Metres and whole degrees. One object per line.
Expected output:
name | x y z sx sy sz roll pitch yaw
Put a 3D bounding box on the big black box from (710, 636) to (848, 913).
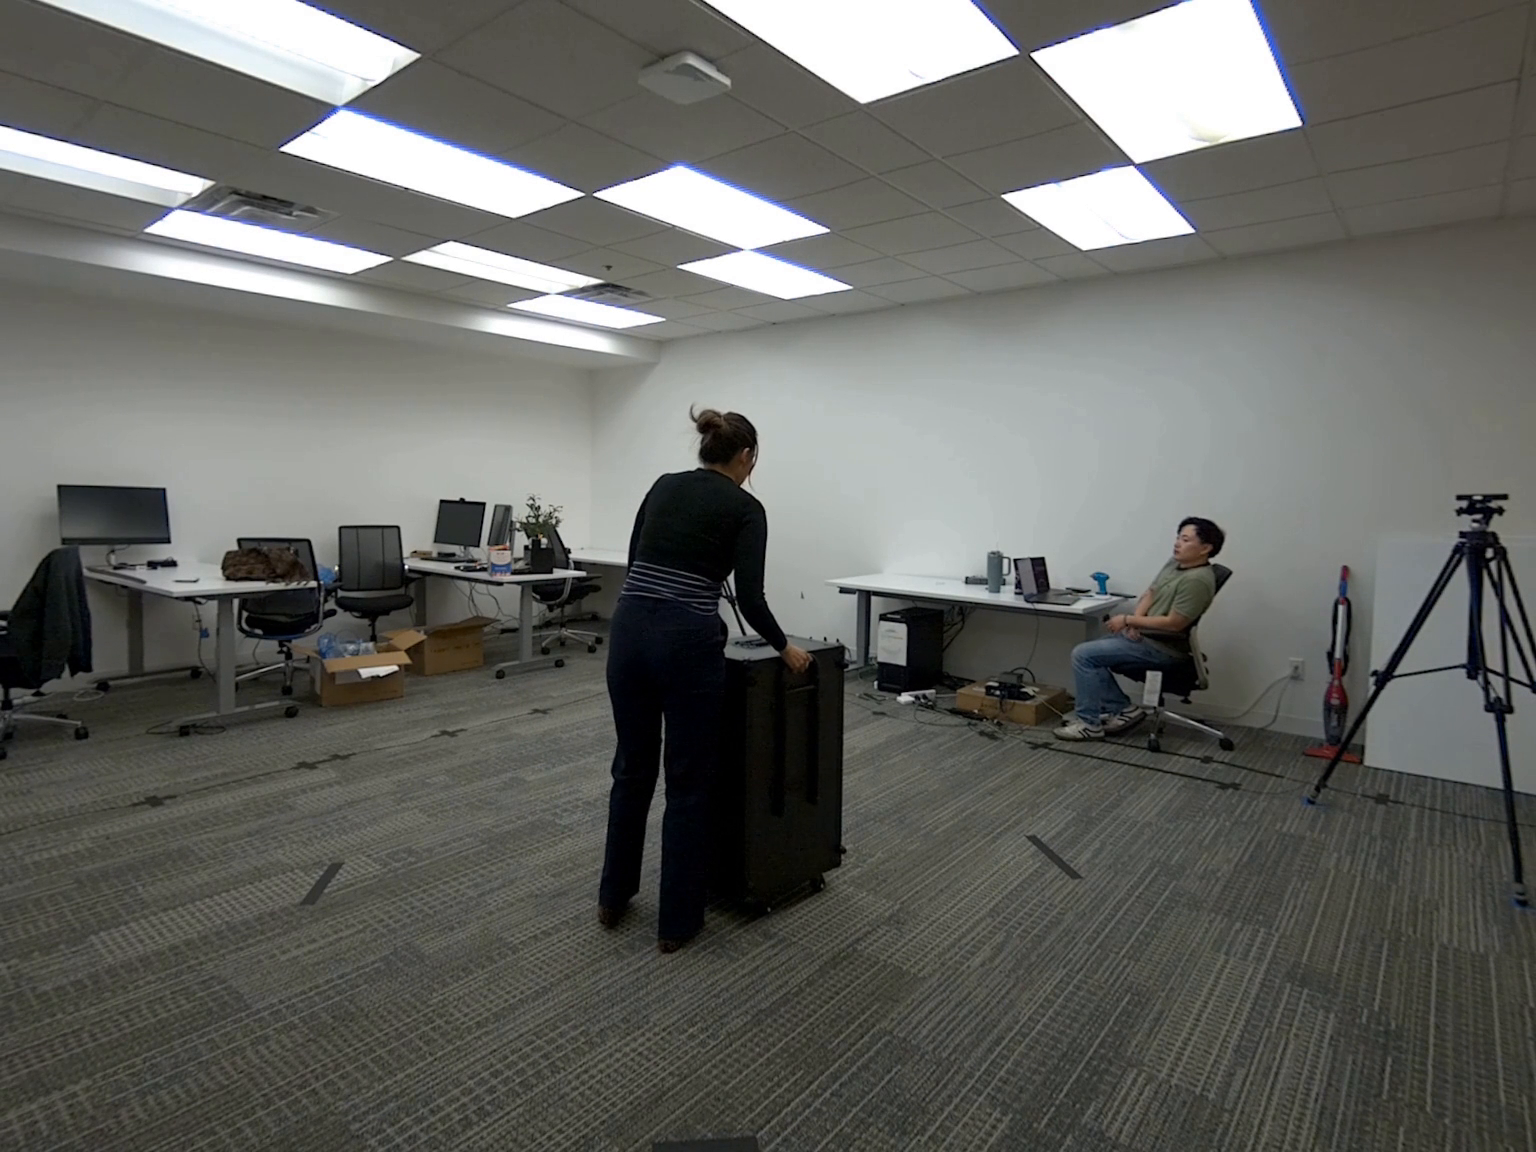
big black box | -0.027 0.601 2.950 0.410 0.859 0.505 5 5 44
